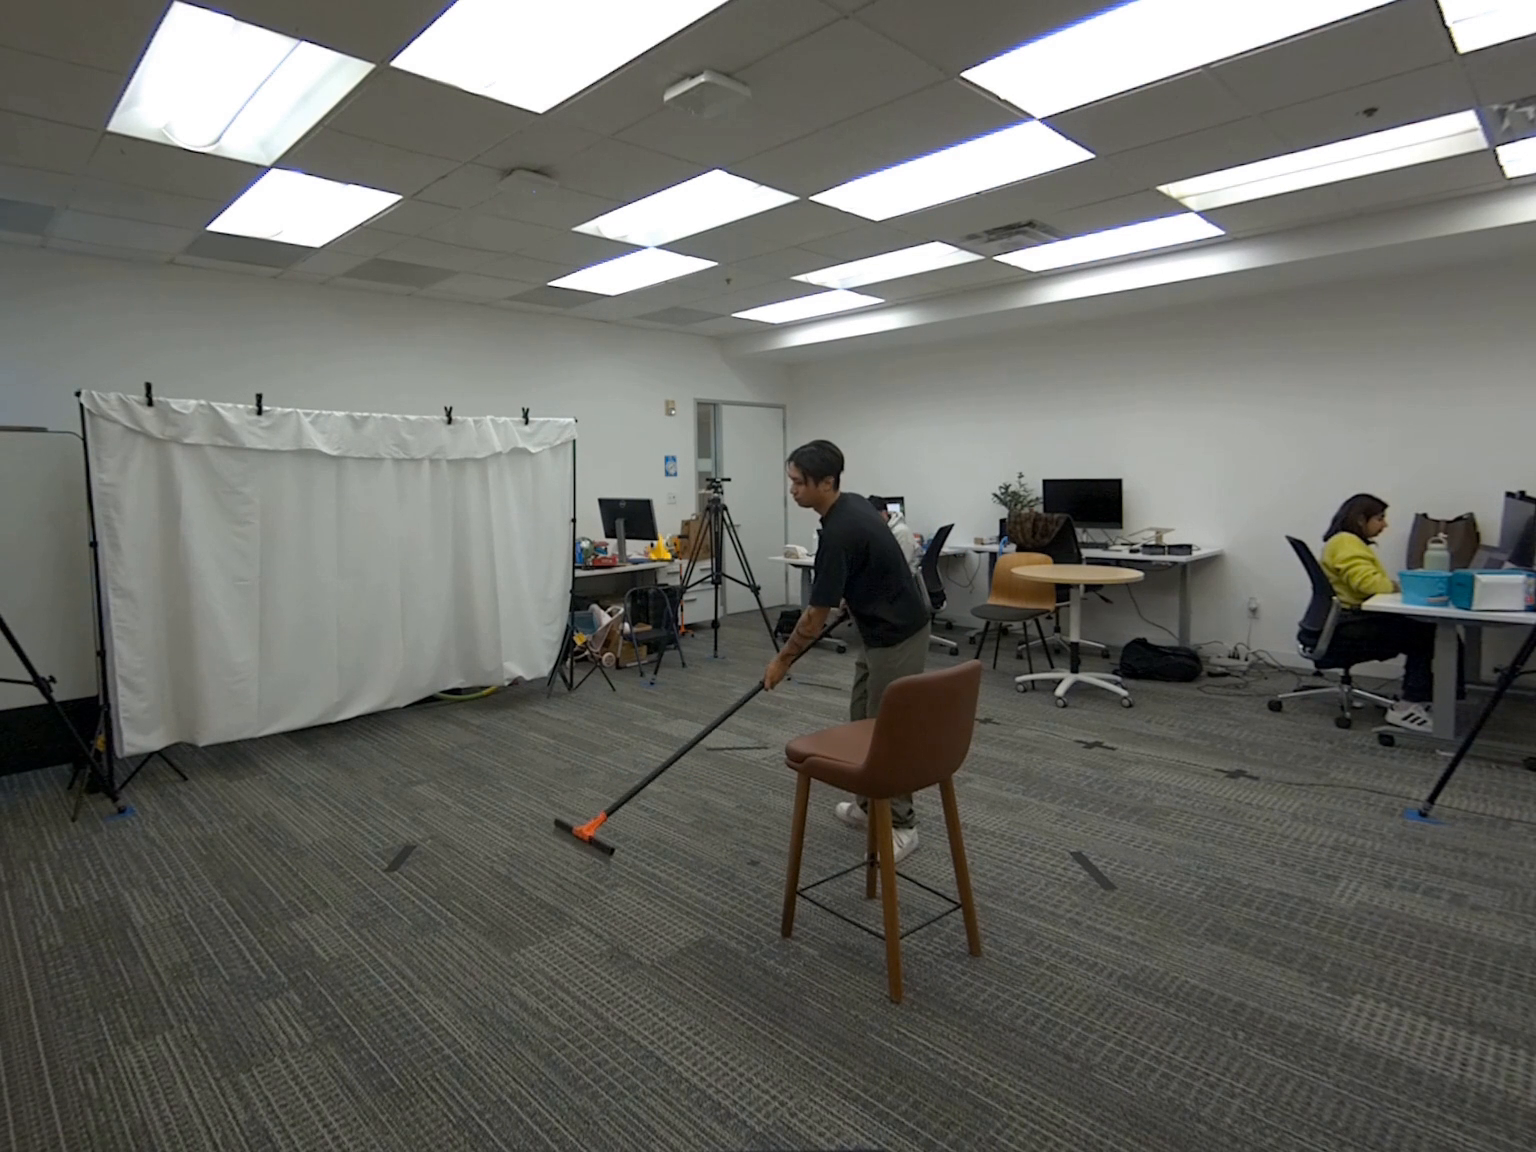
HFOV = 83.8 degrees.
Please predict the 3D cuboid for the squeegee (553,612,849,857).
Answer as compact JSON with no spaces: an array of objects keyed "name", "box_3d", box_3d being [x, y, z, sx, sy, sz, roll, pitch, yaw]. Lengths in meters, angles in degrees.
[{"name":"squeegee","box_3d":[-0.111,0.478,3.182,1.526,0.052,0.448,-36,17,-31]}]
